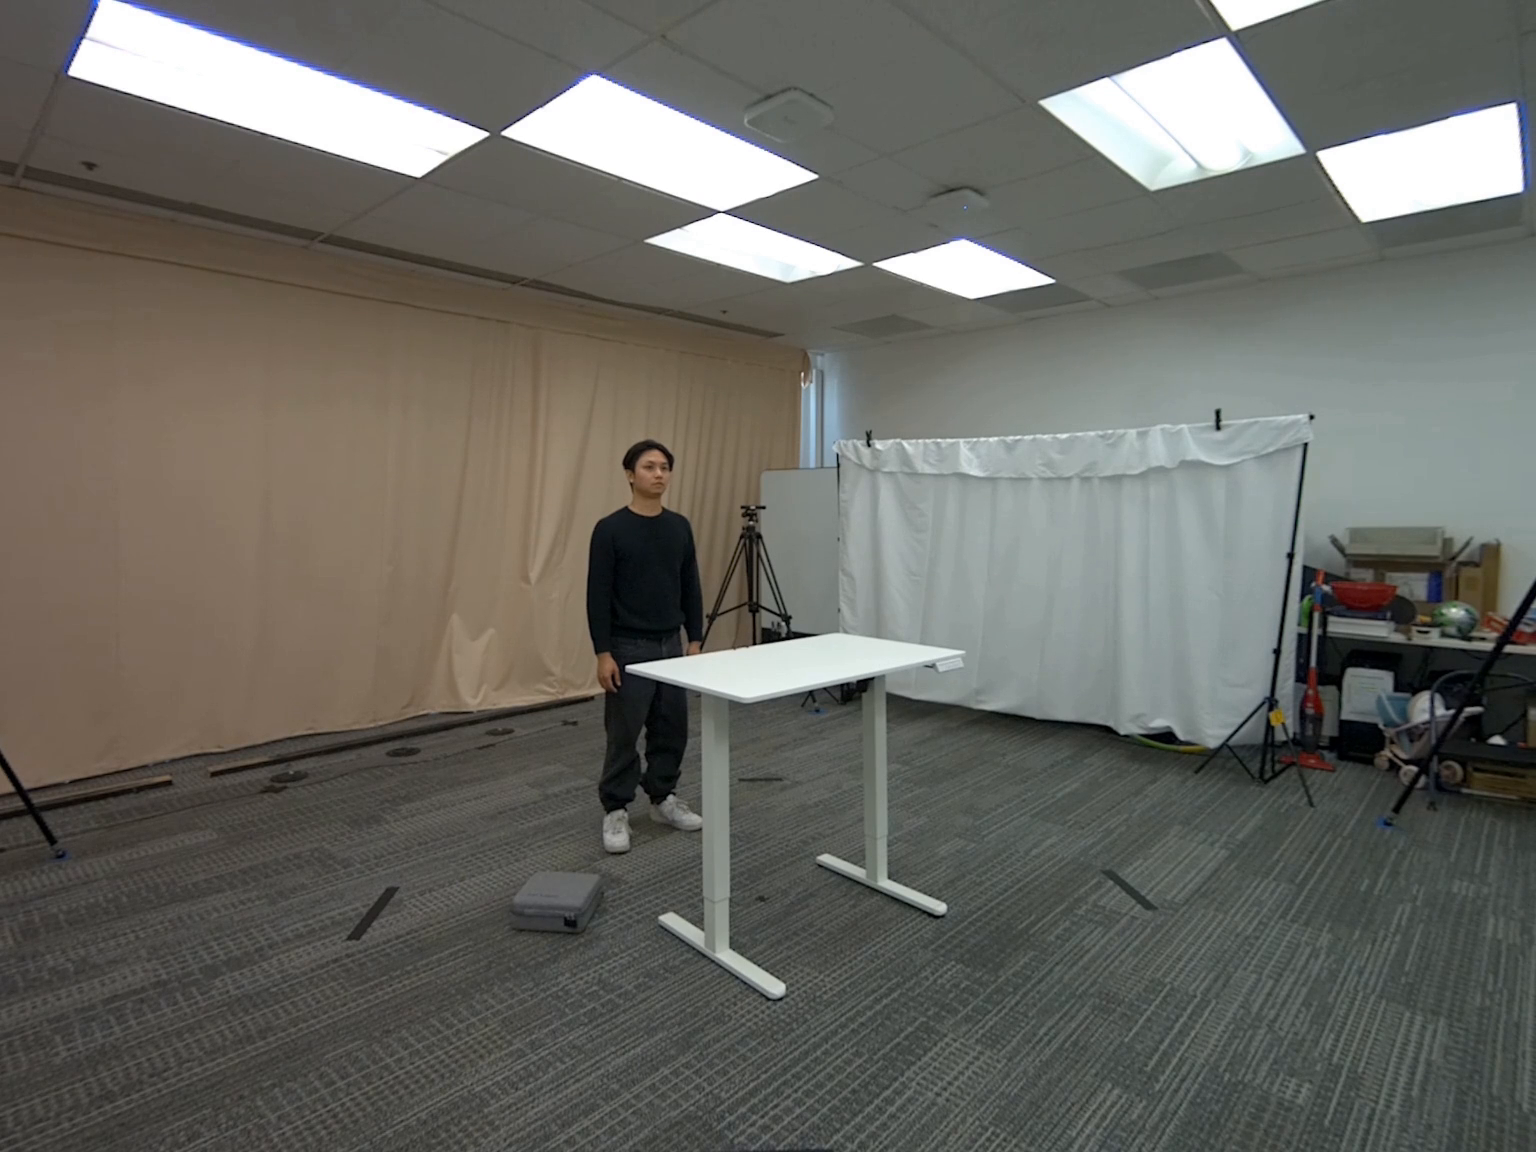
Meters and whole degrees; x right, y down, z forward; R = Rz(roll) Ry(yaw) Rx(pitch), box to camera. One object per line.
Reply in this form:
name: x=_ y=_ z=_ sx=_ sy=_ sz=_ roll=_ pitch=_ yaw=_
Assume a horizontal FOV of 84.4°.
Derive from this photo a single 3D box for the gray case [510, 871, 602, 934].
gray case: x=-0.716 y=1.094 z=2.870 sx=0.259 sy=0.104 sz=0.259 roll=0 pitch=5 yaw=7
